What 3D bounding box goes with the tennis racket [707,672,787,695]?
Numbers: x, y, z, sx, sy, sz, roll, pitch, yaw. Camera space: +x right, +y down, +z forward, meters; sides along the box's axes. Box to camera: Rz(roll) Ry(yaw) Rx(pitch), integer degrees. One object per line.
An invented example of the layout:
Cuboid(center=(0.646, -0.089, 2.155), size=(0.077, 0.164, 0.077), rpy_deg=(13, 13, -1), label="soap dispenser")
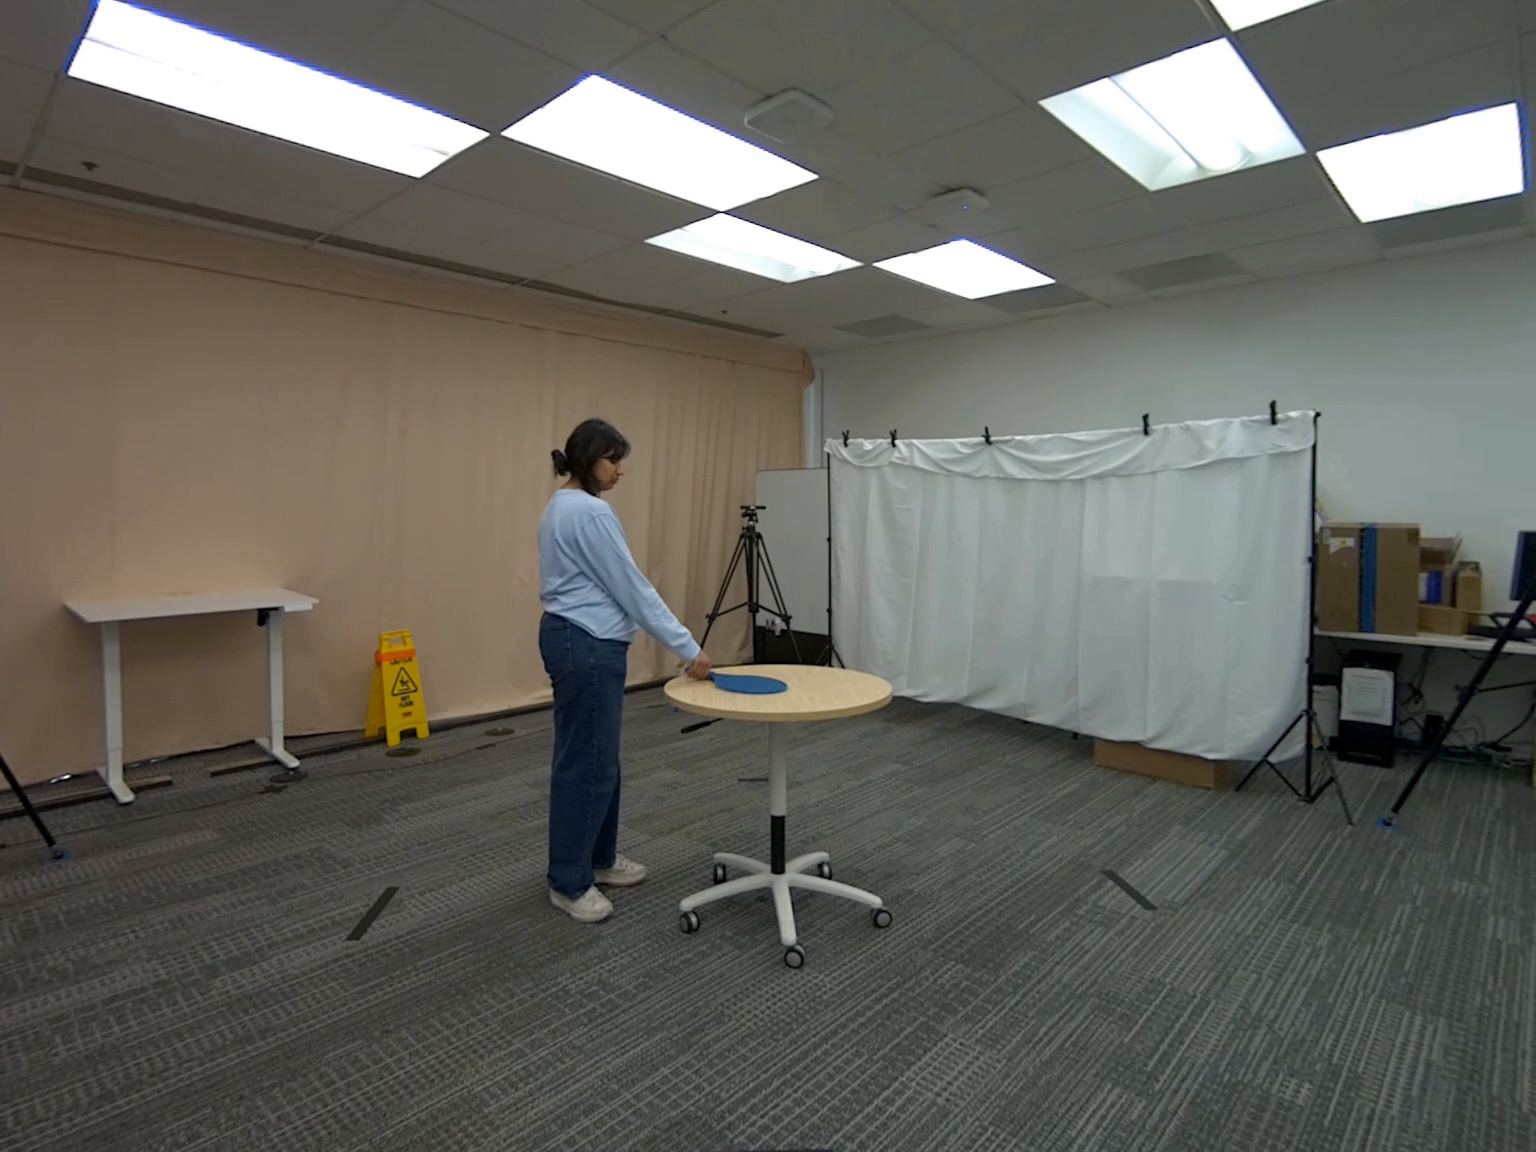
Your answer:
Cuboid(center=(-0.119, 0.362, 2.882), size=(0.448, 0.032, 0.207), rpy_deg=(6, 6, 44), label="tennis racket")
